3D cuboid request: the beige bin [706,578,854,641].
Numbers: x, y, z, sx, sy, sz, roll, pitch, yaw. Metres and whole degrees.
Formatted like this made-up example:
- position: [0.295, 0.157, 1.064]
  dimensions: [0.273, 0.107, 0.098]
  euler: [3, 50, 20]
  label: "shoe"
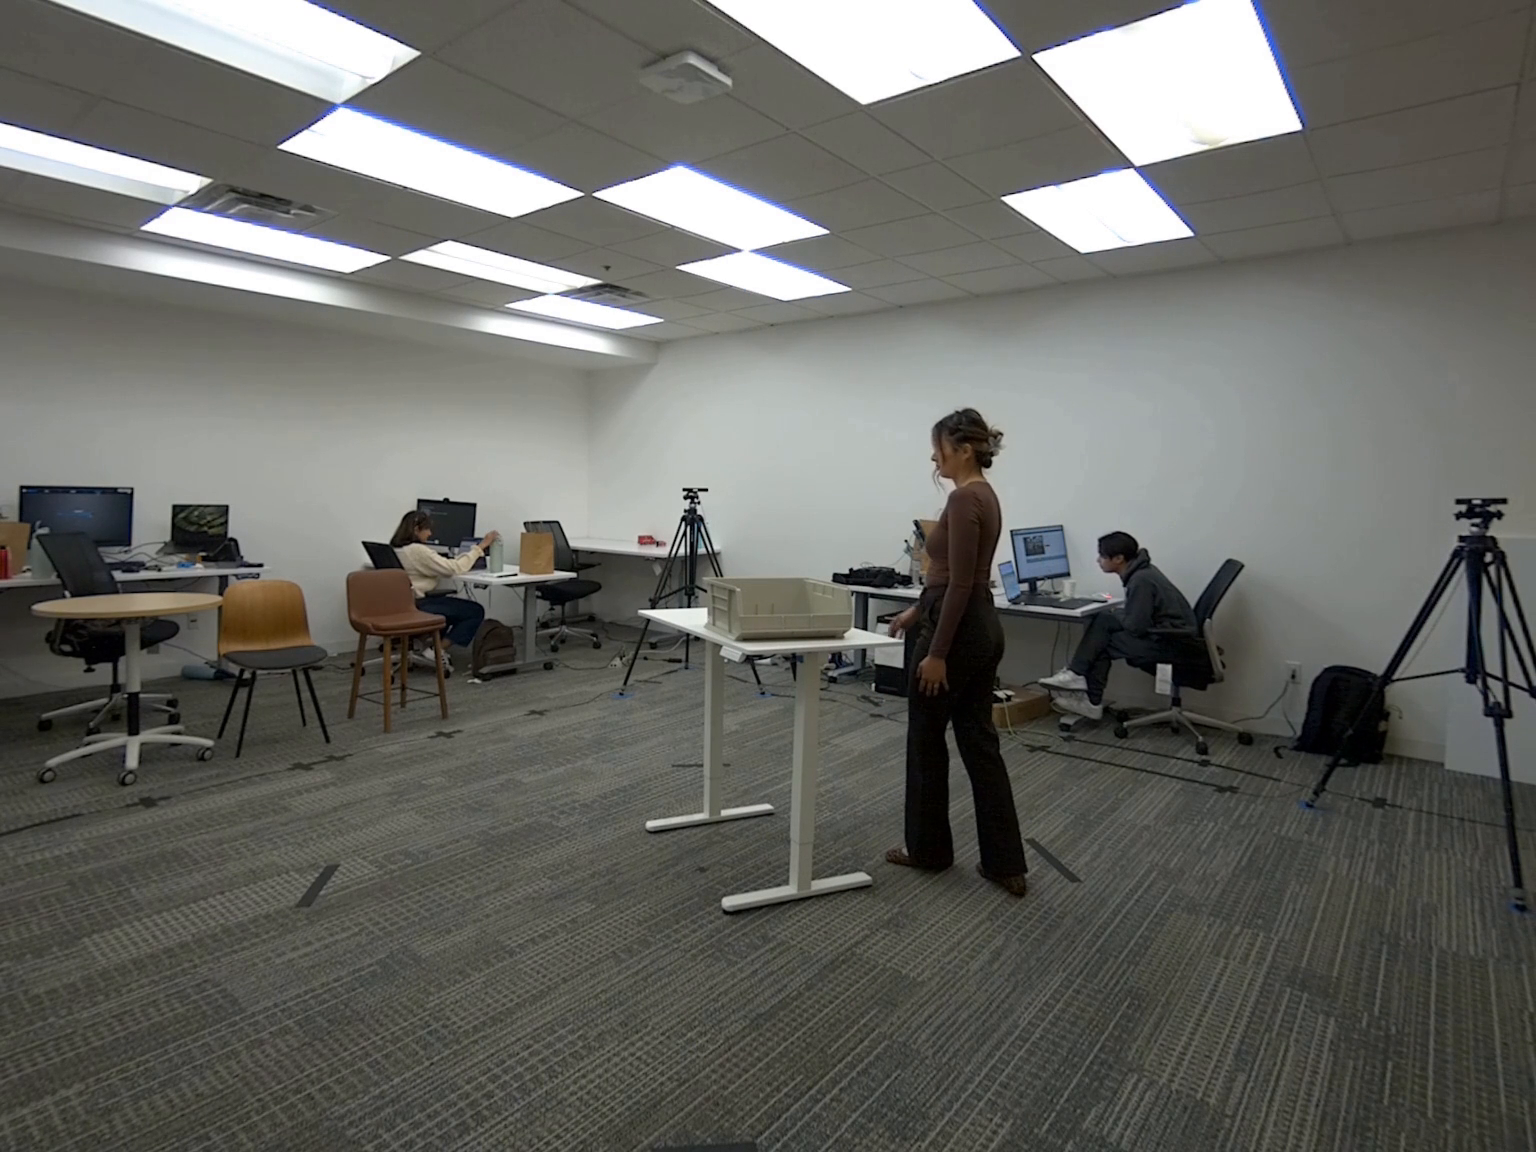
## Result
- position: [0.017, 0.113, 2.999]
  dimensions: [0.413, 0.188, 0.387]
  euler: [-1, 5, -23]
  label: "beige bin"
